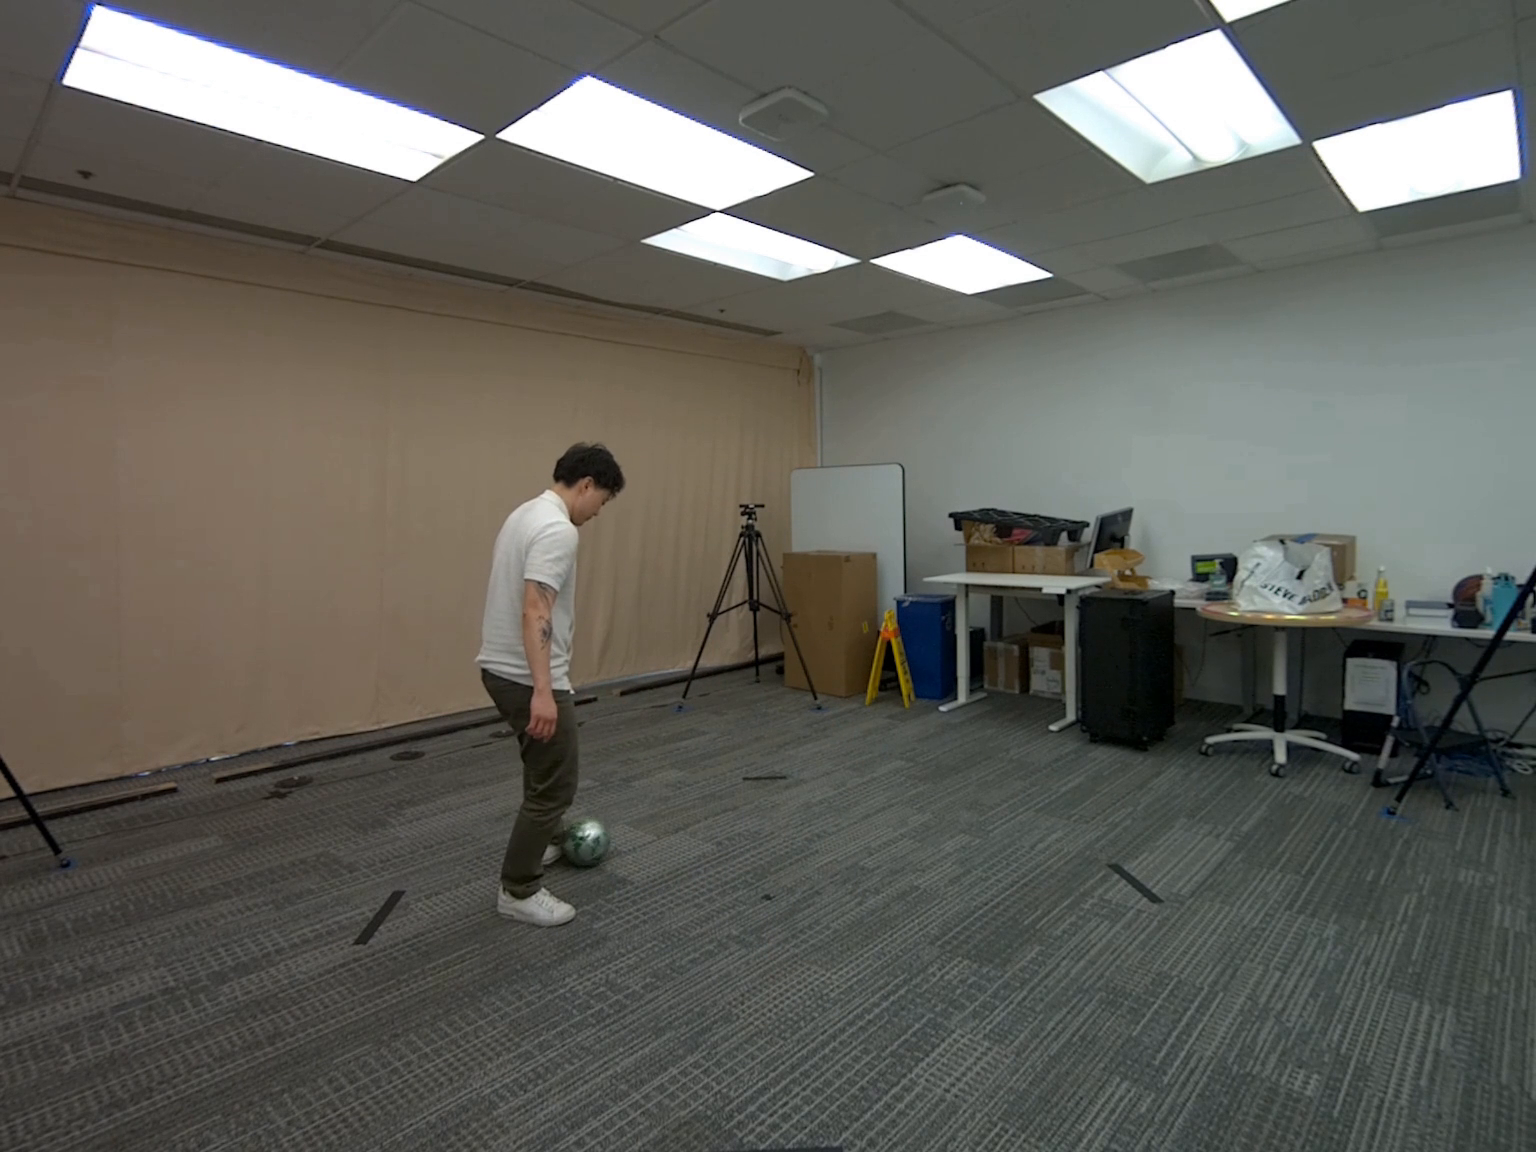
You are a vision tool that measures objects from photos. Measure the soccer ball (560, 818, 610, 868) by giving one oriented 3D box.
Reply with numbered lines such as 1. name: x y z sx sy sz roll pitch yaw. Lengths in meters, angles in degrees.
1. soccer ball: -0.695 1.040 3.281 0.187 0.187 0.188 -1 4 -2
